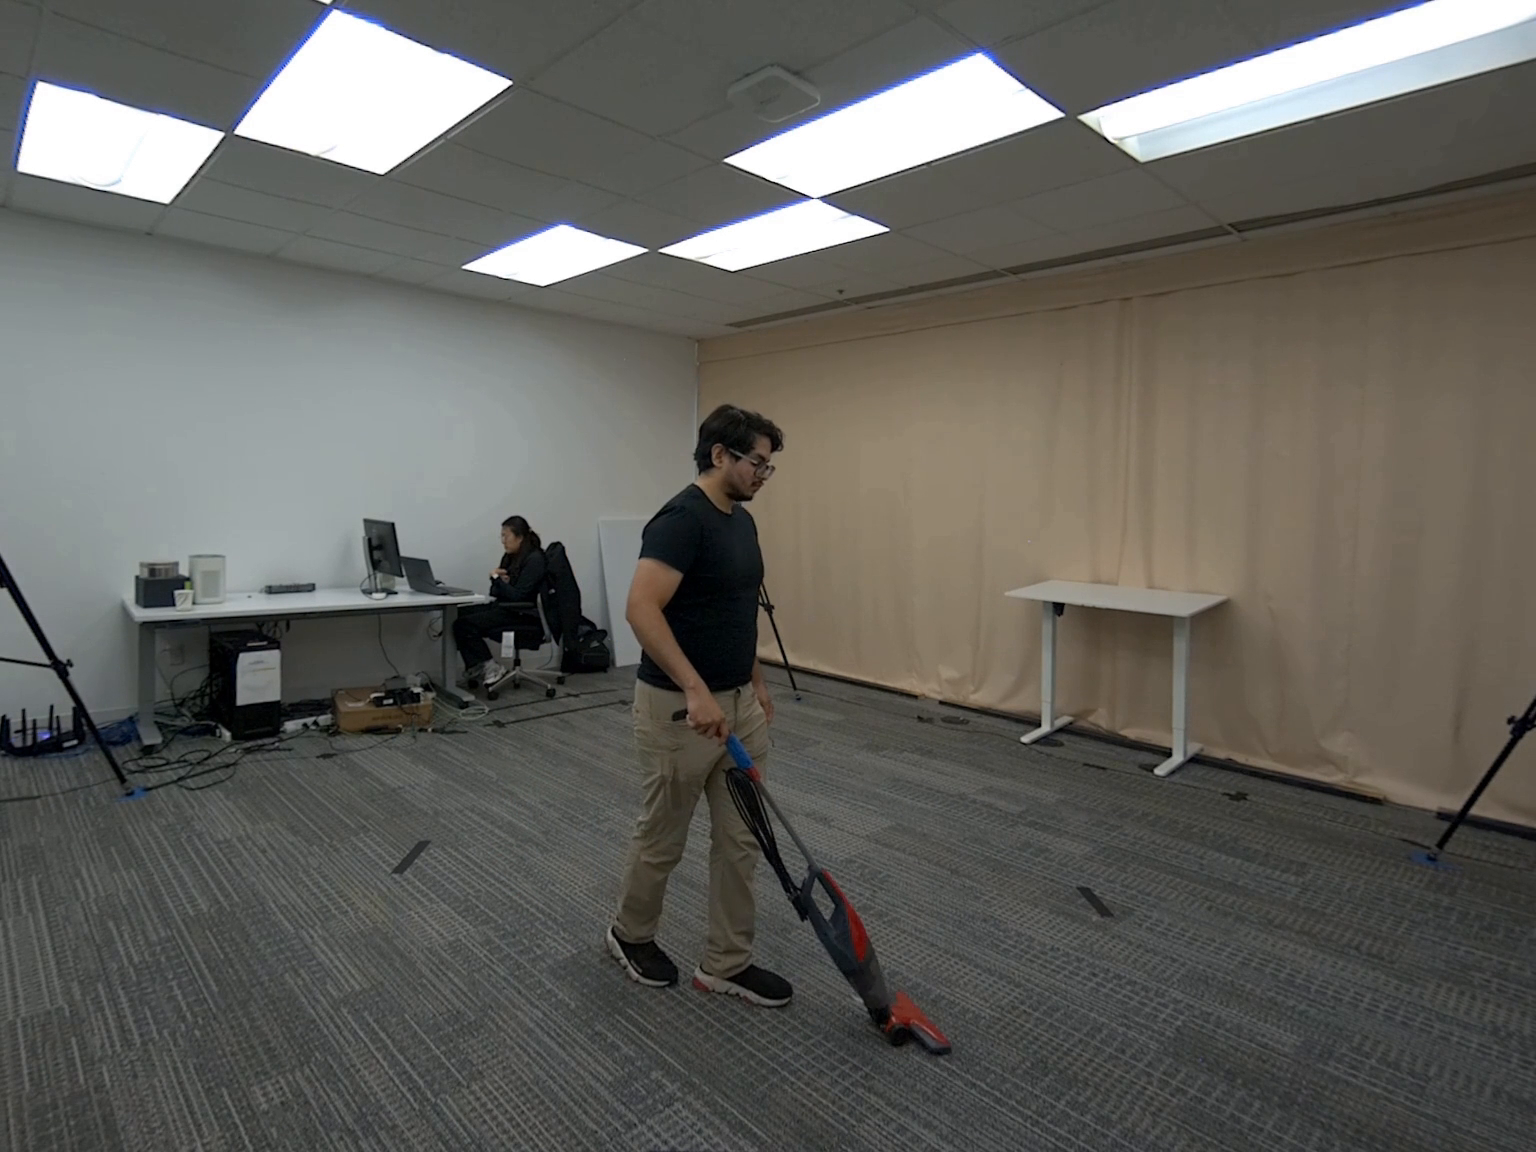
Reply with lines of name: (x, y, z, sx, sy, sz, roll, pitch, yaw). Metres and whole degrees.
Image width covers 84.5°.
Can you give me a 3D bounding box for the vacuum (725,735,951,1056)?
vacuum: (0.087, 0.768, 2.112, 0.143, 1.033, 0.257, -36, 15, -14)
